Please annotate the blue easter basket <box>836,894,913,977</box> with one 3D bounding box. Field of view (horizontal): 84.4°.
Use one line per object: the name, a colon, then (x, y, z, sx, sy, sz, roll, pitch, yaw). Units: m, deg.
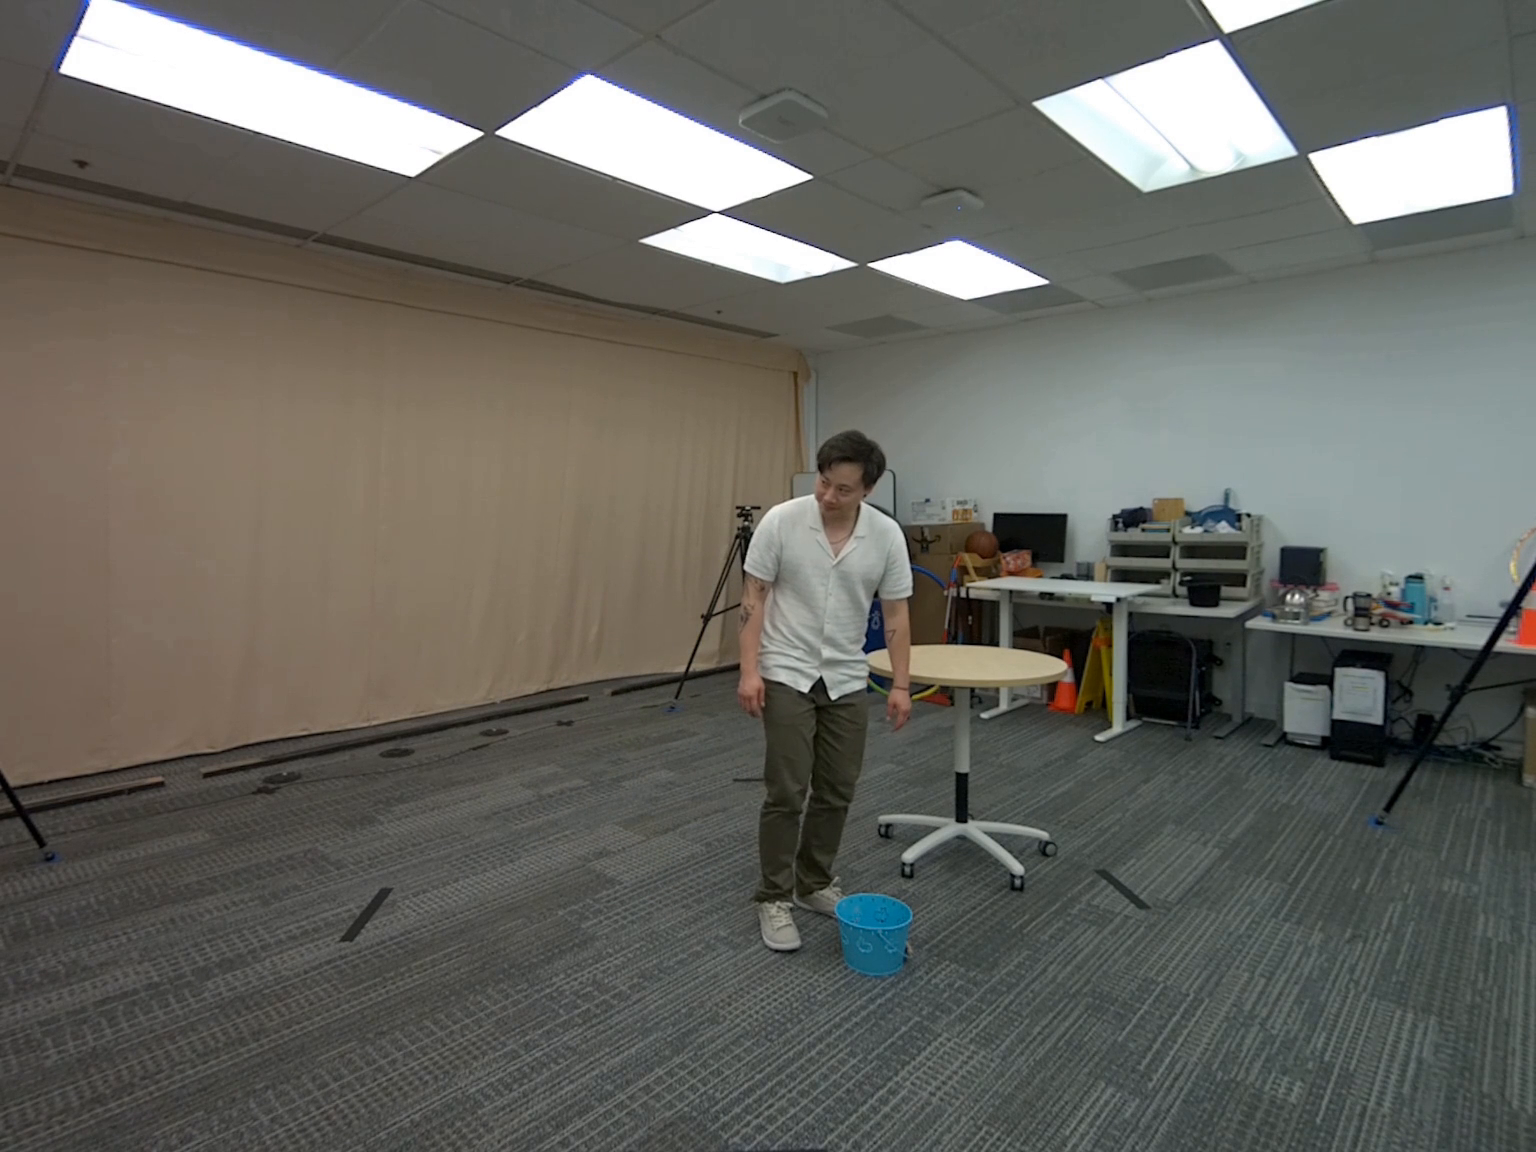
blue easter basket: (0.330, 1.096, 2.582, 0.243, 0.155, 0.244, 0, 5, -2)
